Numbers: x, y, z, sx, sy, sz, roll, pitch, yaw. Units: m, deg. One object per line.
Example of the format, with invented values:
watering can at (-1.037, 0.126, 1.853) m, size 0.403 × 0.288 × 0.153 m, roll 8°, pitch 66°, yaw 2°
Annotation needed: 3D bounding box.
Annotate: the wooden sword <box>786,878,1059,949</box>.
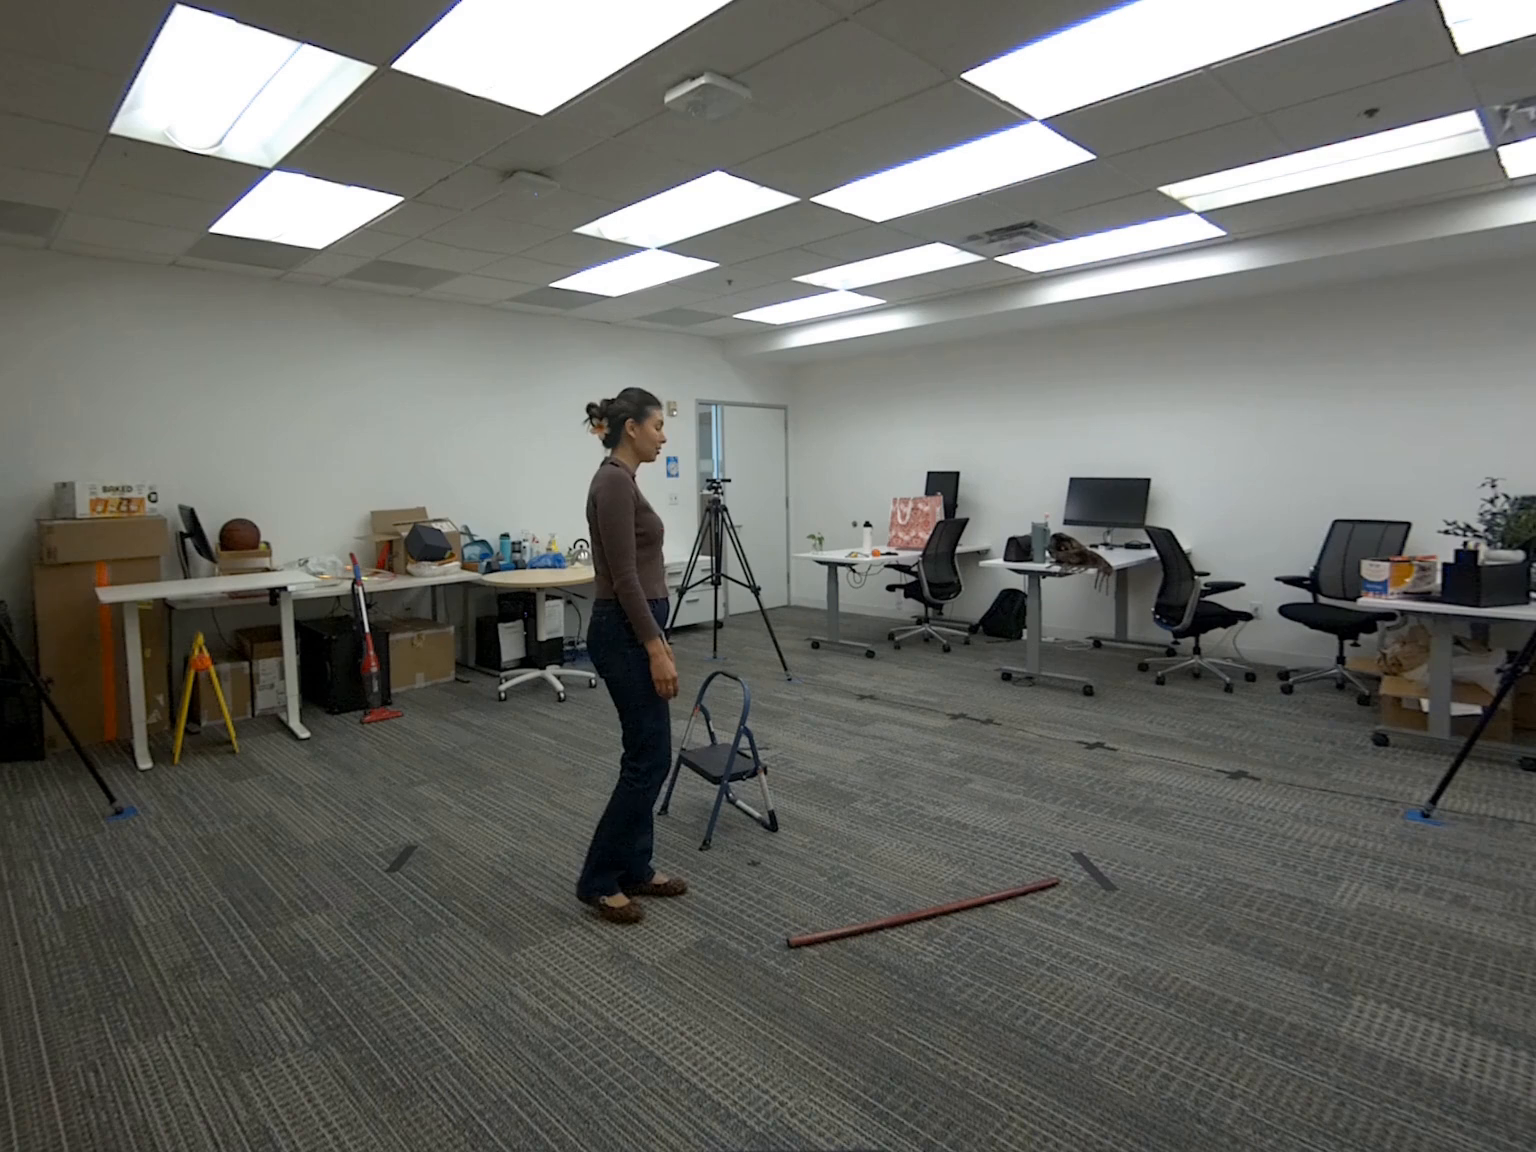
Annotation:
wooden sword at (0.525, 1.055, 2.726) m, size 1.006 × 0.024 × 0.053 m, roll -3°, pitch 14°, yaw -20°
